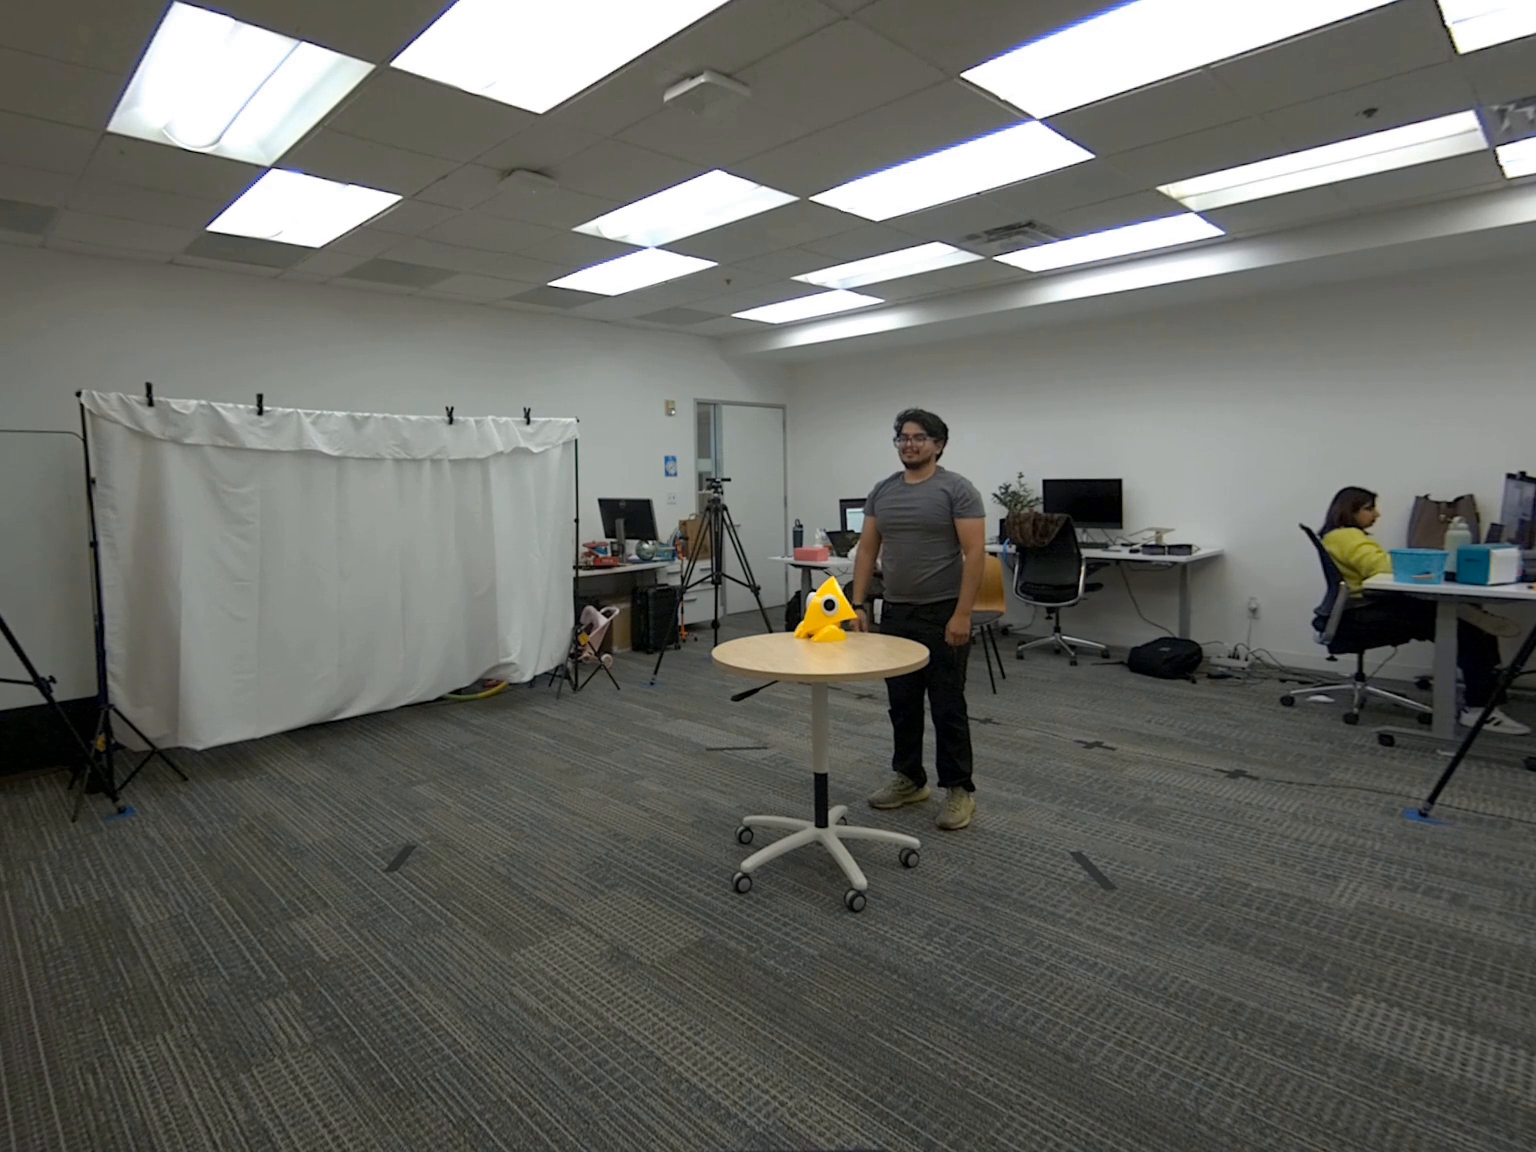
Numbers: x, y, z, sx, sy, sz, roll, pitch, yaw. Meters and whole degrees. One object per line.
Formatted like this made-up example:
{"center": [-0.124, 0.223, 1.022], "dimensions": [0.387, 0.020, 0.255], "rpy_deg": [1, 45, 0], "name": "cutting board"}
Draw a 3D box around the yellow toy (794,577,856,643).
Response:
{"center": [0.214, 0.121, 3.298], "dimensions": [0.188, 0.230, 0.210], "rpy_deg": [-4, 5, -32], "name": "yellow toy"}
